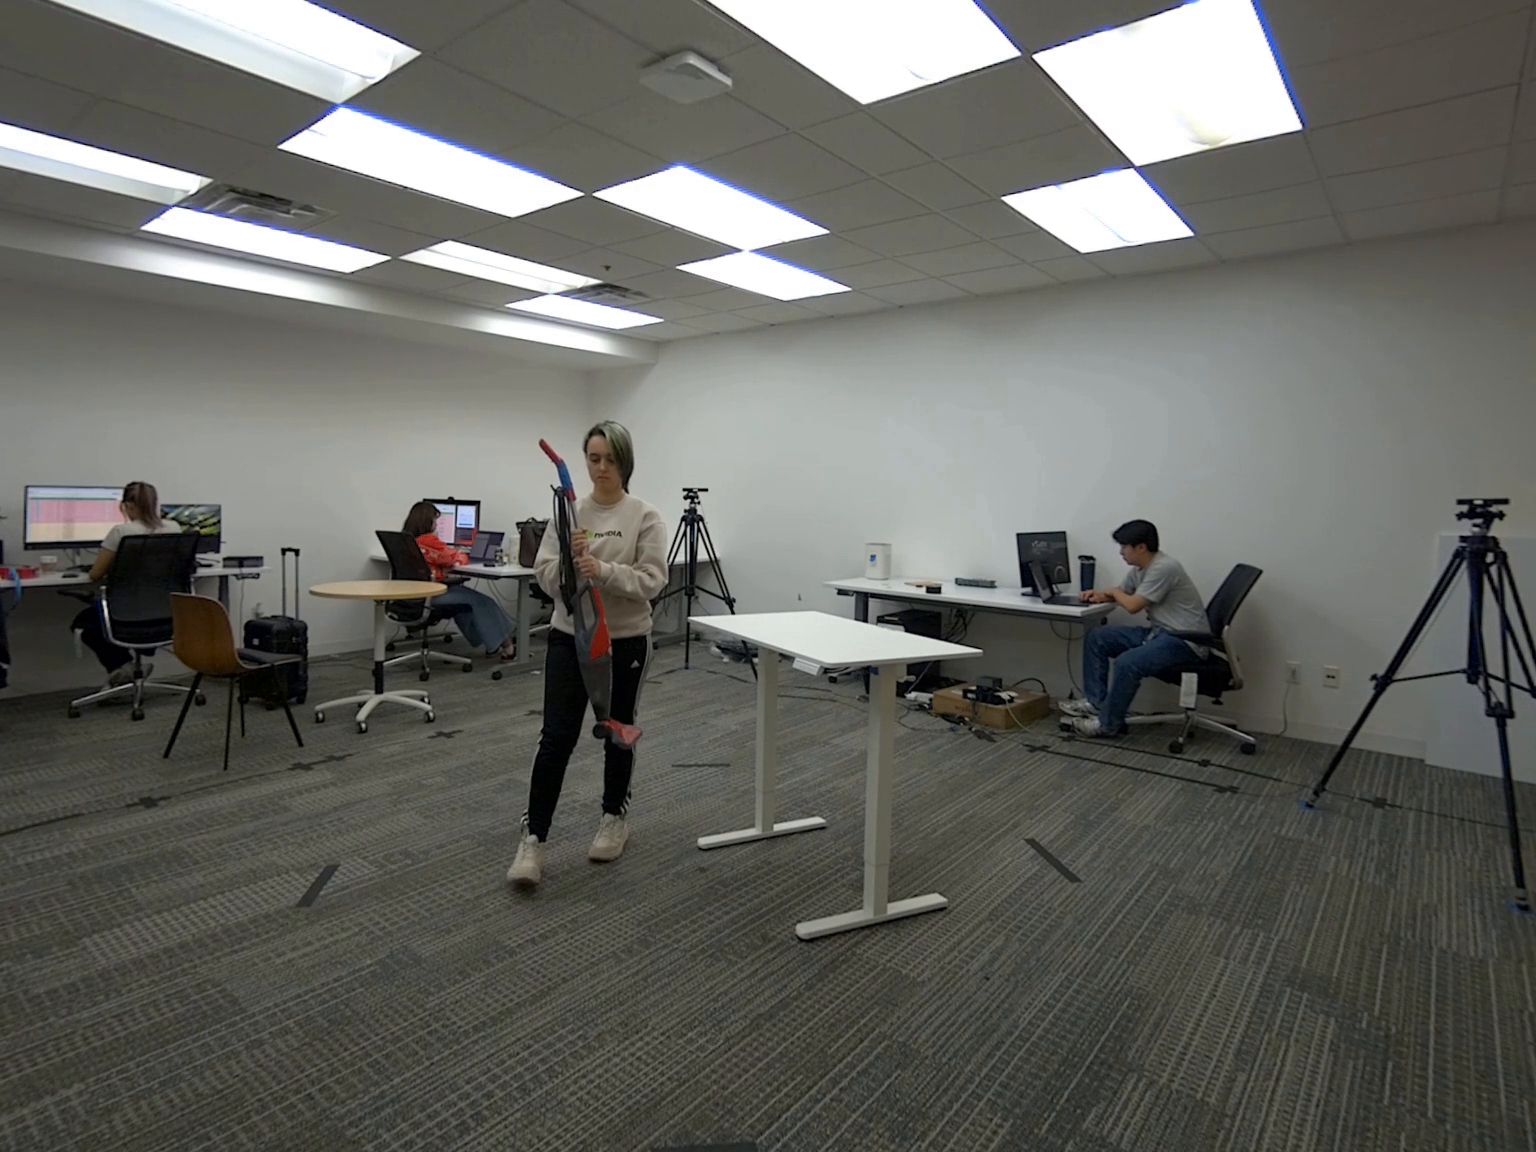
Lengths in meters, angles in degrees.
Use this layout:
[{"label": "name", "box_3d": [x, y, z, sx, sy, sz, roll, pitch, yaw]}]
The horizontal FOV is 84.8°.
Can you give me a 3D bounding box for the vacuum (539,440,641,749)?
[{"label": "vacuum", "box_3d": [-0.672, 0.041, 2.931, 0.144, 1.054, 0.251, -15, -4, 0]}]
